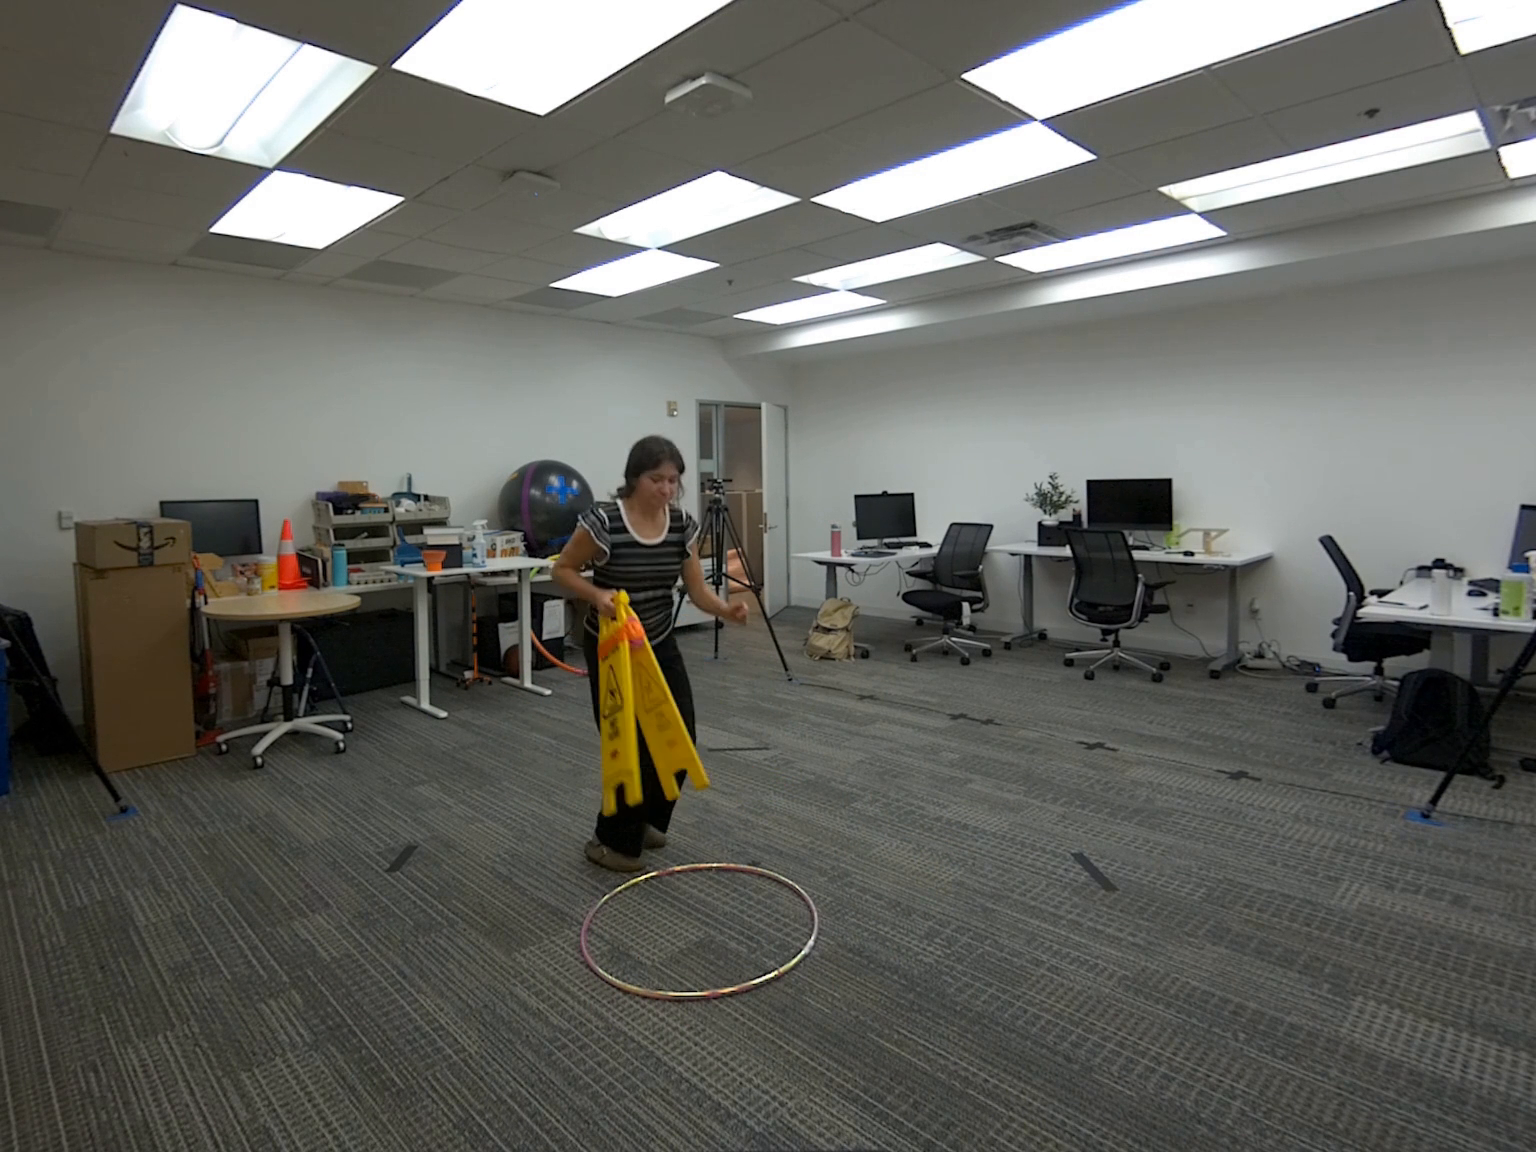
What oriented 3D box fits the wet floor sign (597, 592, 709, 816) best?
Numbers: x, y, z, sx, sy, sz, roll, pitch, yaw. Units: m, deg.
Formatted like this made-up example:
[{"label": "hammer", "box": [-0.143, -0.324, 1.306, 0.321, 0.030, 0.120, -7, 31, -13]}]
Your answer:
[{"label": "wet floor sign", "box": [-0.420, 0.383, 2.698, 0.283, 0.659, 0.283, -4, -21, -32]}]
